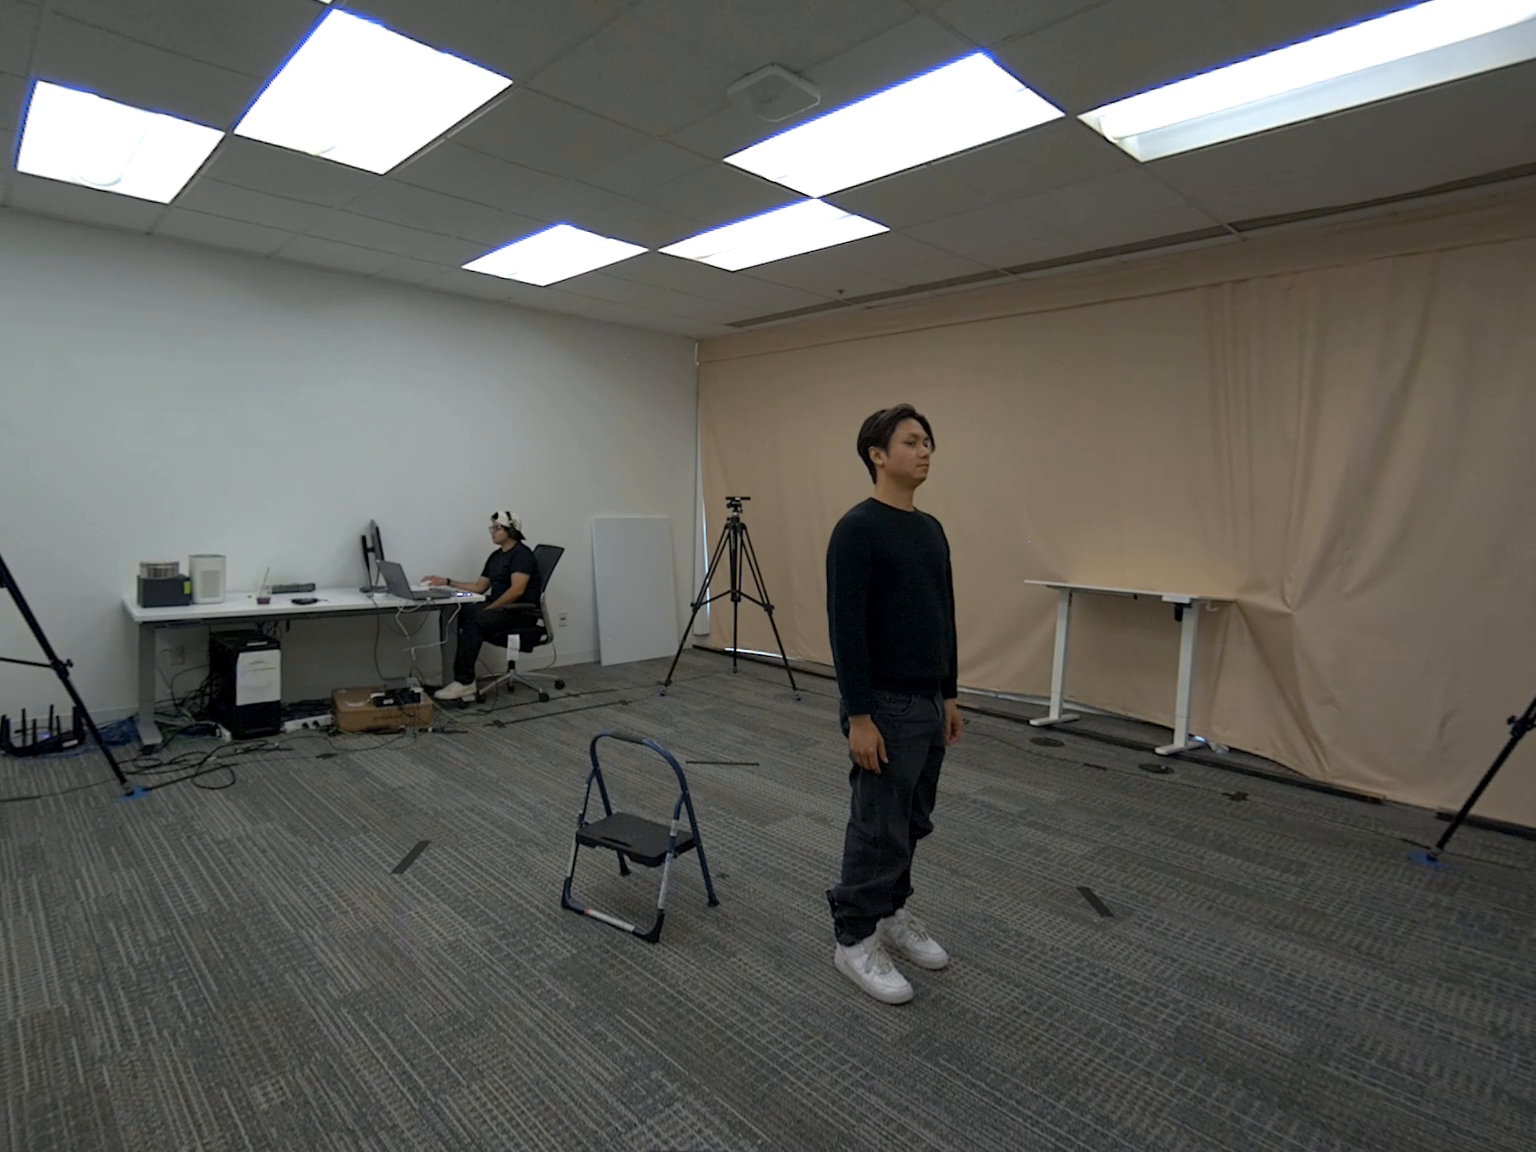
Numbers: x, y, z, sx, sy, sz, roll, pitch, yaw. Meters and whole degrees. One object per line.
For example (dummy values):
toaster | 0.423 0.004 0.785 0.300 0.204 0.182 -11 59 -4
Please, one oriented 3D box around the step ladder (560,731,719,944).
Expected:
step ladder | -0.436 0.818 2.851 0.440 0.605 0.342 3 4 32
